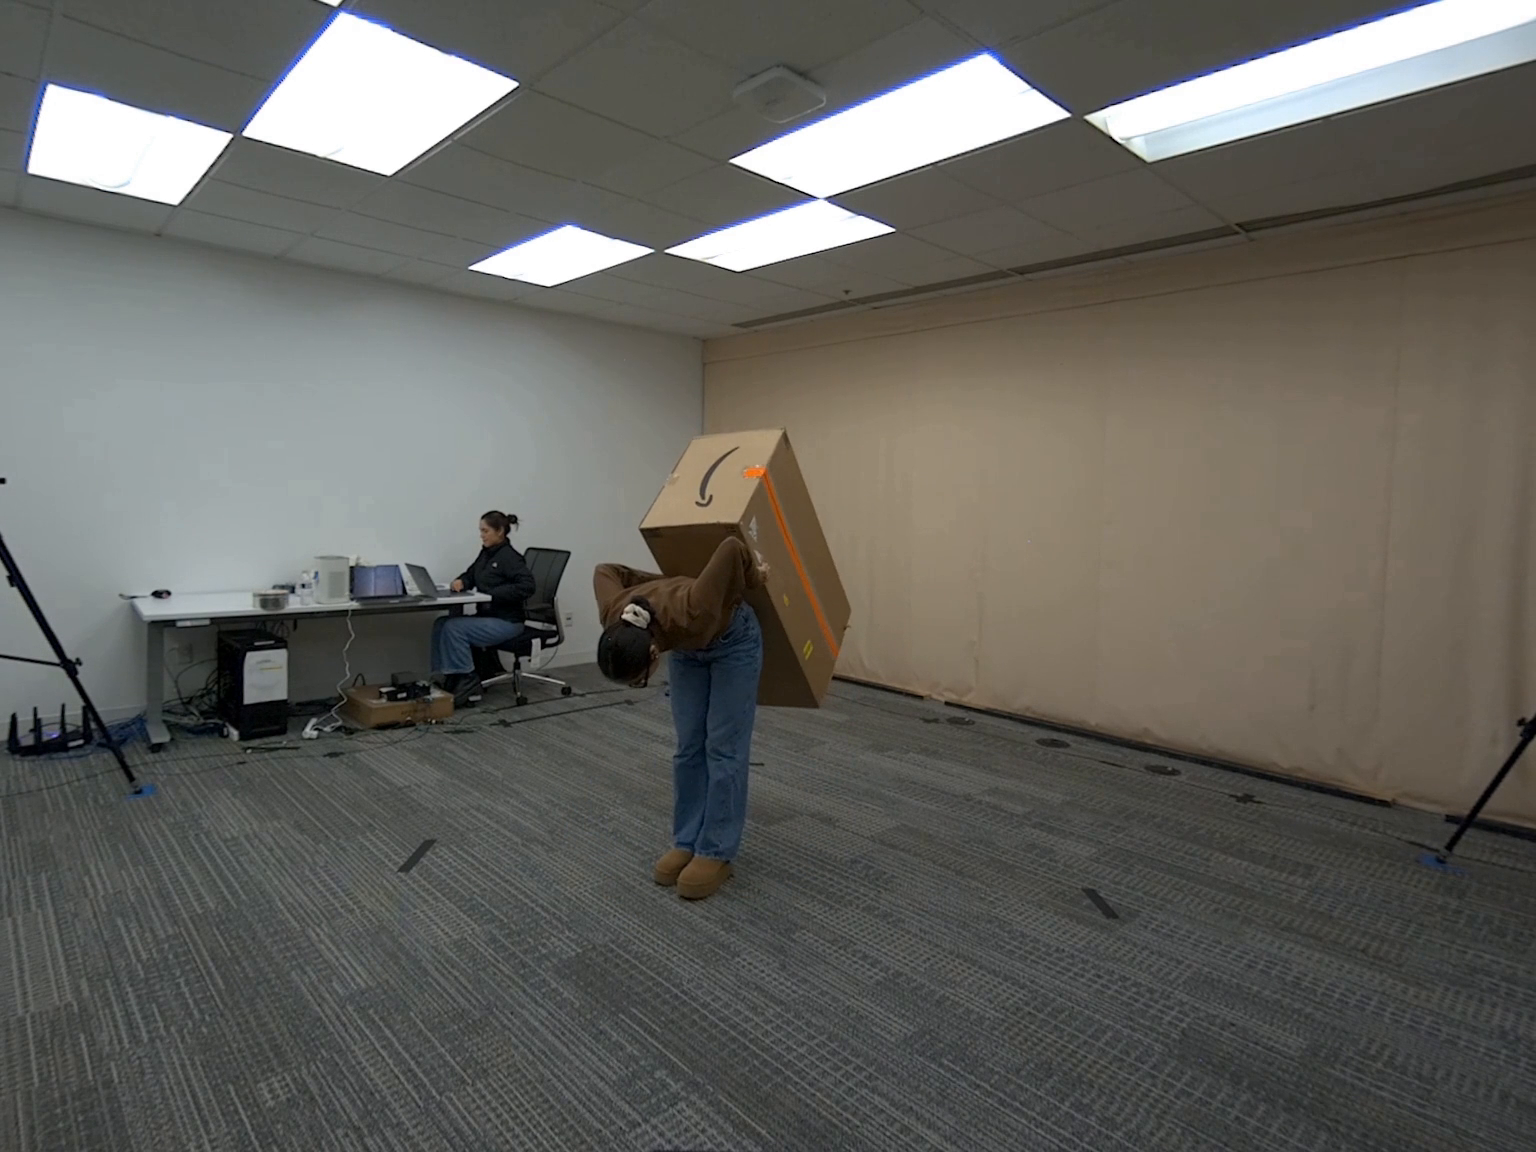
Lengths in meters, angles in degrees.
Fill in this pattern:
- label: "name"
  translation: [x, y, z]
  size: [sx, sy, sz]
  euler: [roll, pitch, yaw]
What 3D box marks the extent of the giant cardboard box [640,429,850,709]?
- label: "giant cardboard box"
  translation: [-0.049, -0.004, 3.486]
  size: [0.455, 0.998, 0.589]
  euler: [-3, 41, 27]
